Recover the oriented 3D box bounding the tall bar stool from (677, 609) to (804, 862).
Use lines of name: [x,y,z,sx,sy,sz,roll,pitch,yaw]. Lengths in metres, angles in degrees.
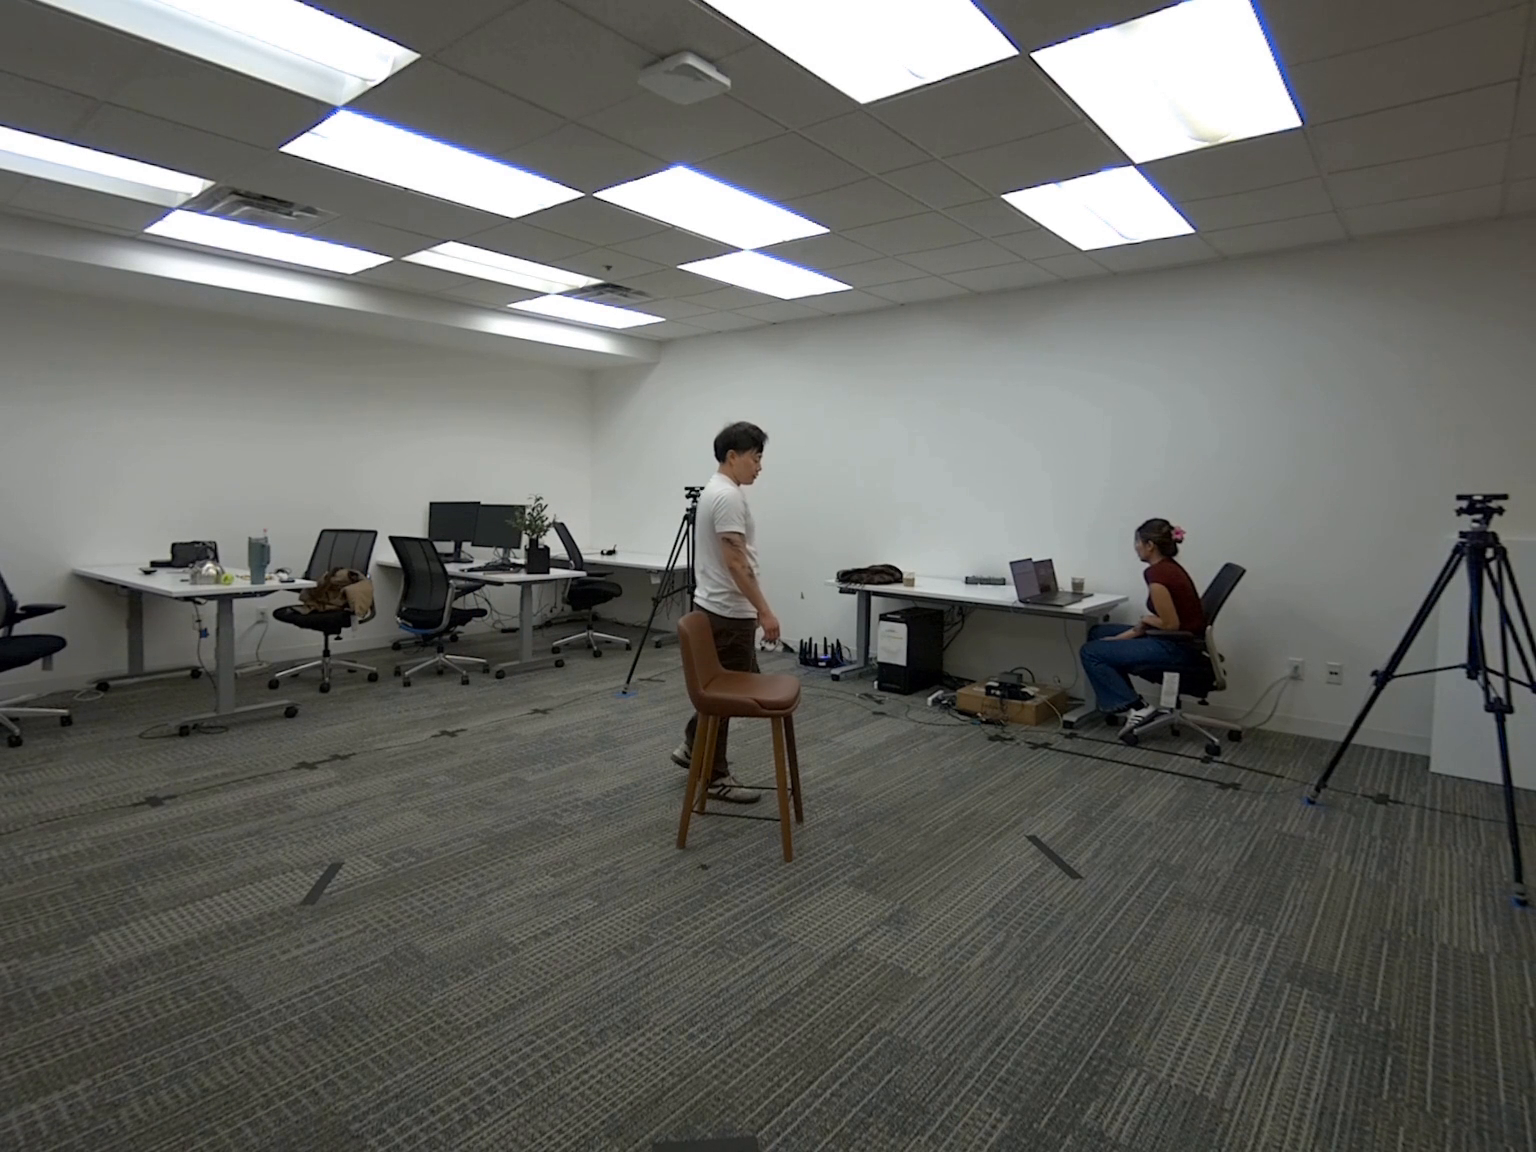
tall bar stool: [-0.110,0.606,3.400,0.474,0.888,0.451,0,2,11]
